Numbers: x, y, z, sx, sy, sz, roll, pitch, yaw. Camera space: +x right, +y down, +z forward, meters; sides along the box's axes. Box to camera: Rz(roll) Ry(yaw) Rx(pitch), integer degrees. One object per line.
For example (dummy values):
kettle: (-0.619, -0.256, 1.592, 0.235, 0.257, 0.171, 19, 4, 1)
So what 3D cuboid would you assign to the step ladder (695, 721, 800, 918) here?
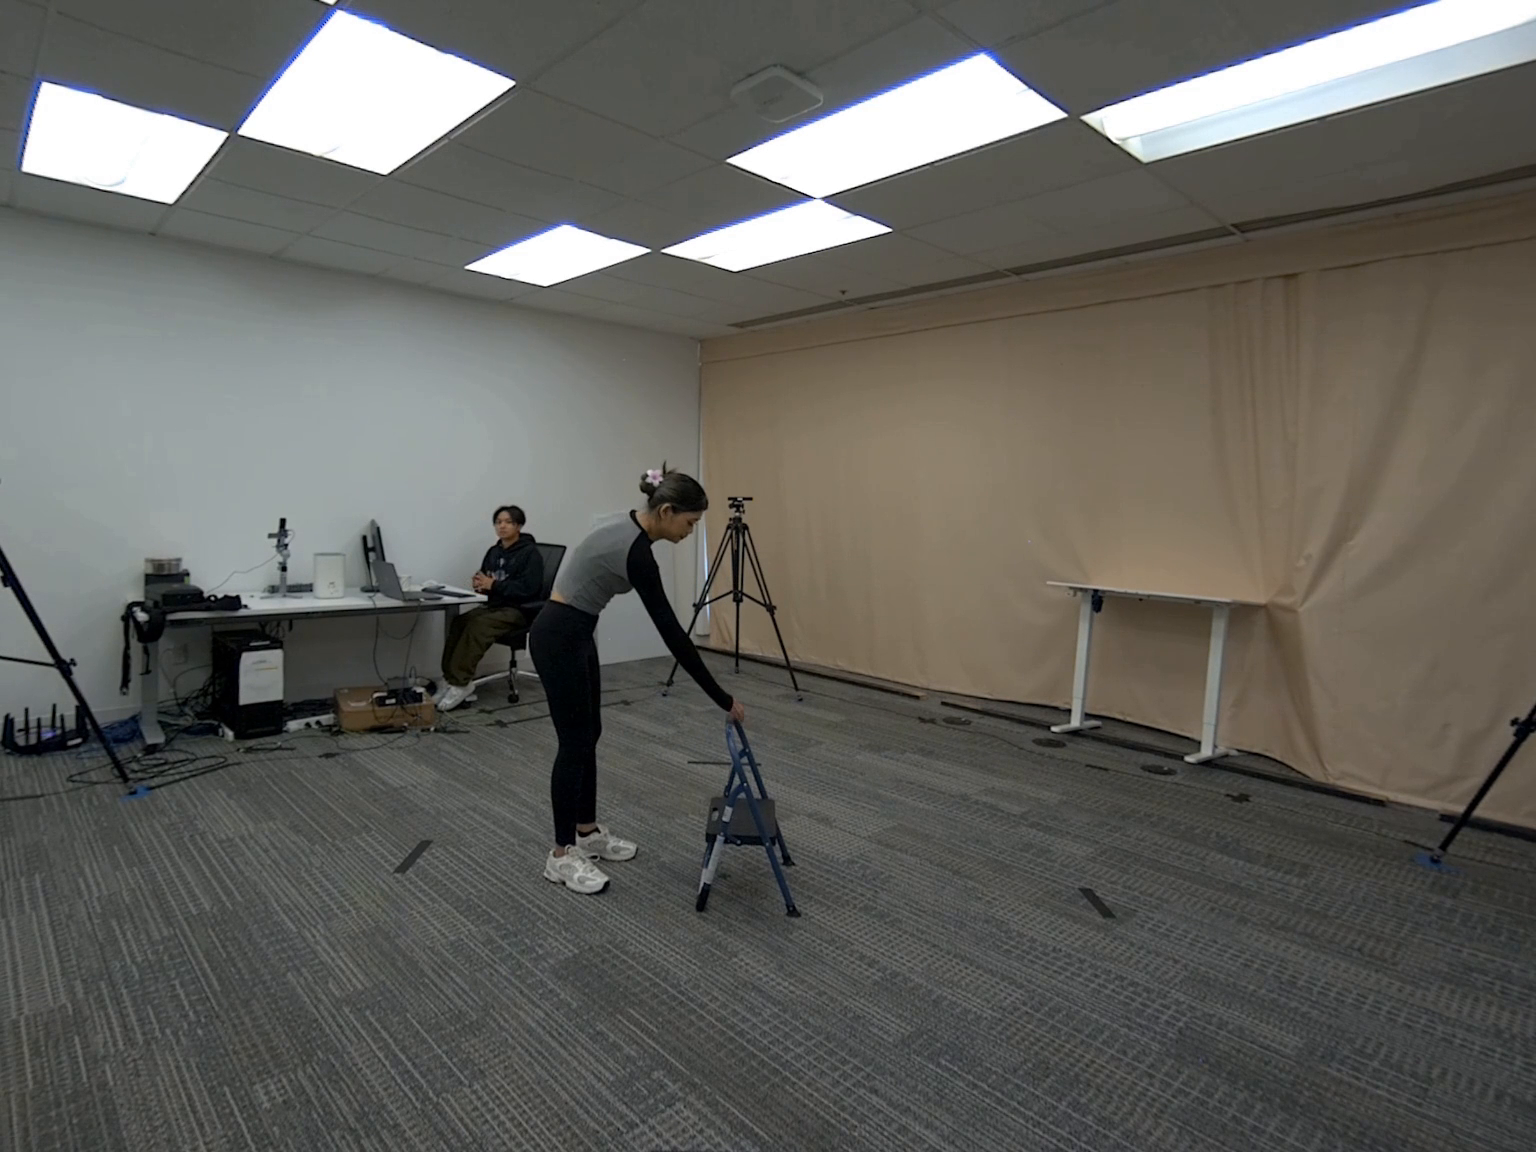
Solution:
step ladder: (-0.071, 0.821, 3.002, 0.350, 0.604, 0.431, 3, 4, 1)
